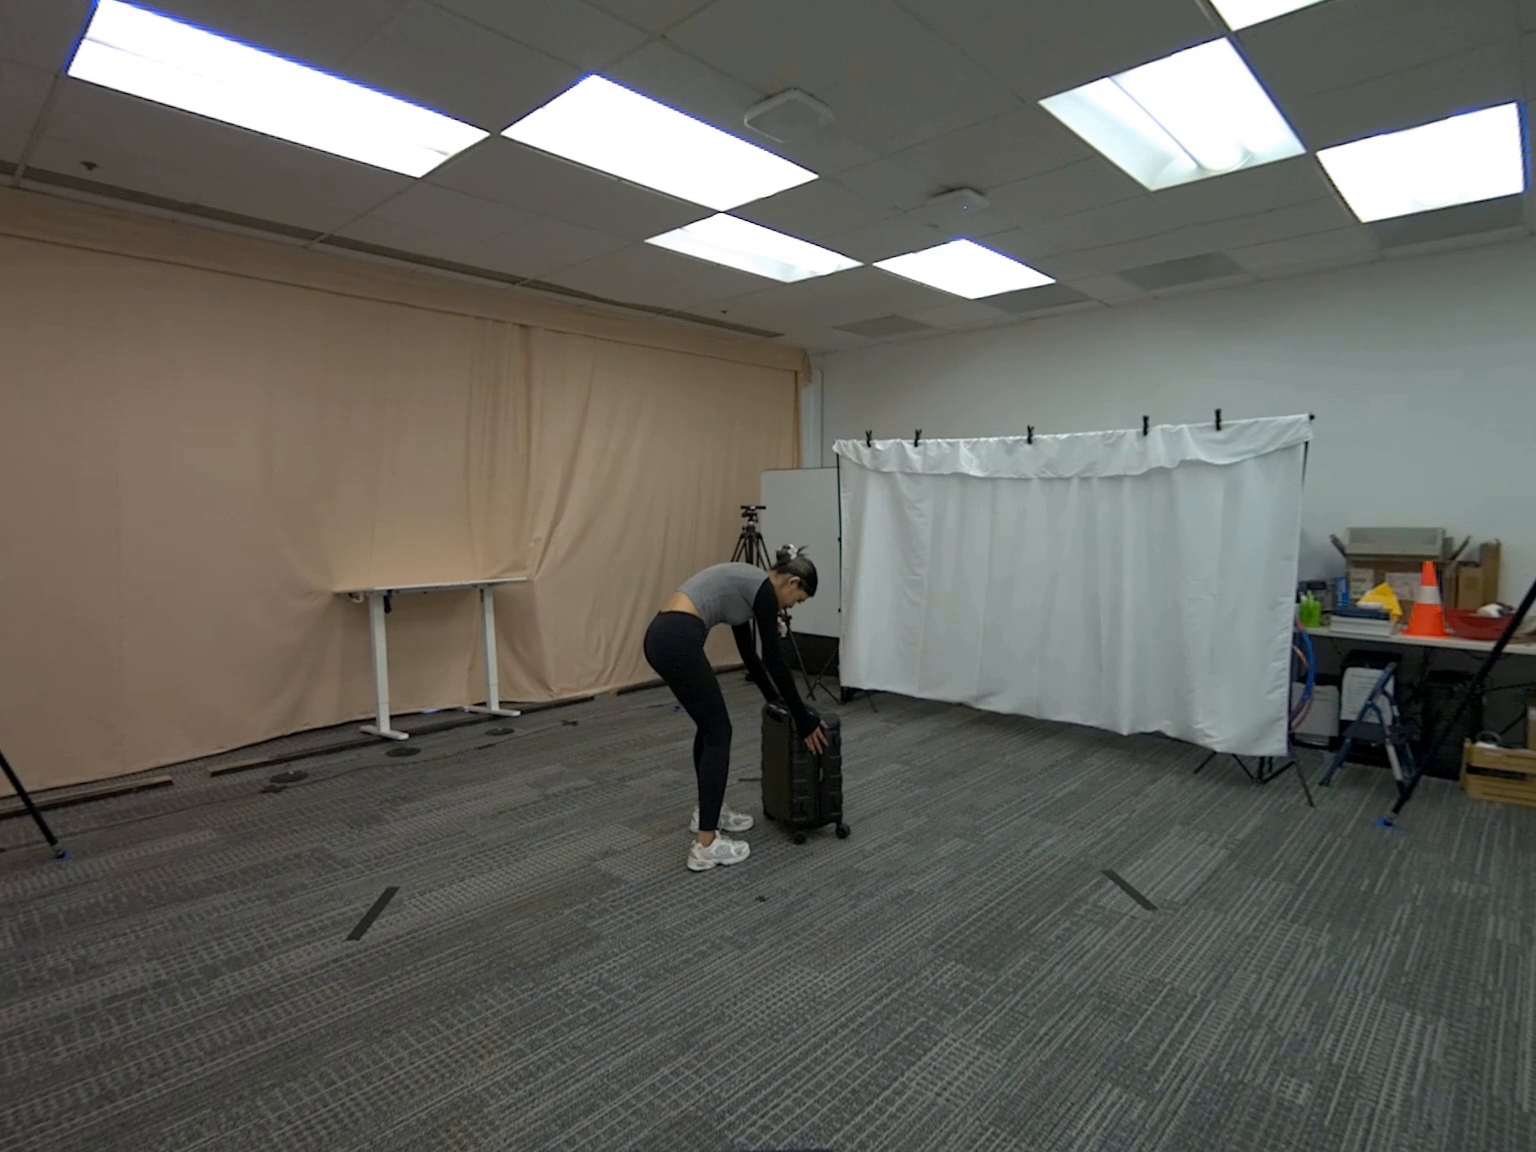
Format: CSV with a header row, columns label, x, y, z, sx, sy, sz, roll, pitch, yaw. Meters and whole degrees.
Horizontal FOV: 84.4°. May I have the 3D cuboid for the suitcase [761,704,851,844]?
label,x,y,z,sx,sy,sz,roll,pitch,yaw
suitcase,0.141,0.811,3.633,0.243,0.548,0.384,-4,4,-22
